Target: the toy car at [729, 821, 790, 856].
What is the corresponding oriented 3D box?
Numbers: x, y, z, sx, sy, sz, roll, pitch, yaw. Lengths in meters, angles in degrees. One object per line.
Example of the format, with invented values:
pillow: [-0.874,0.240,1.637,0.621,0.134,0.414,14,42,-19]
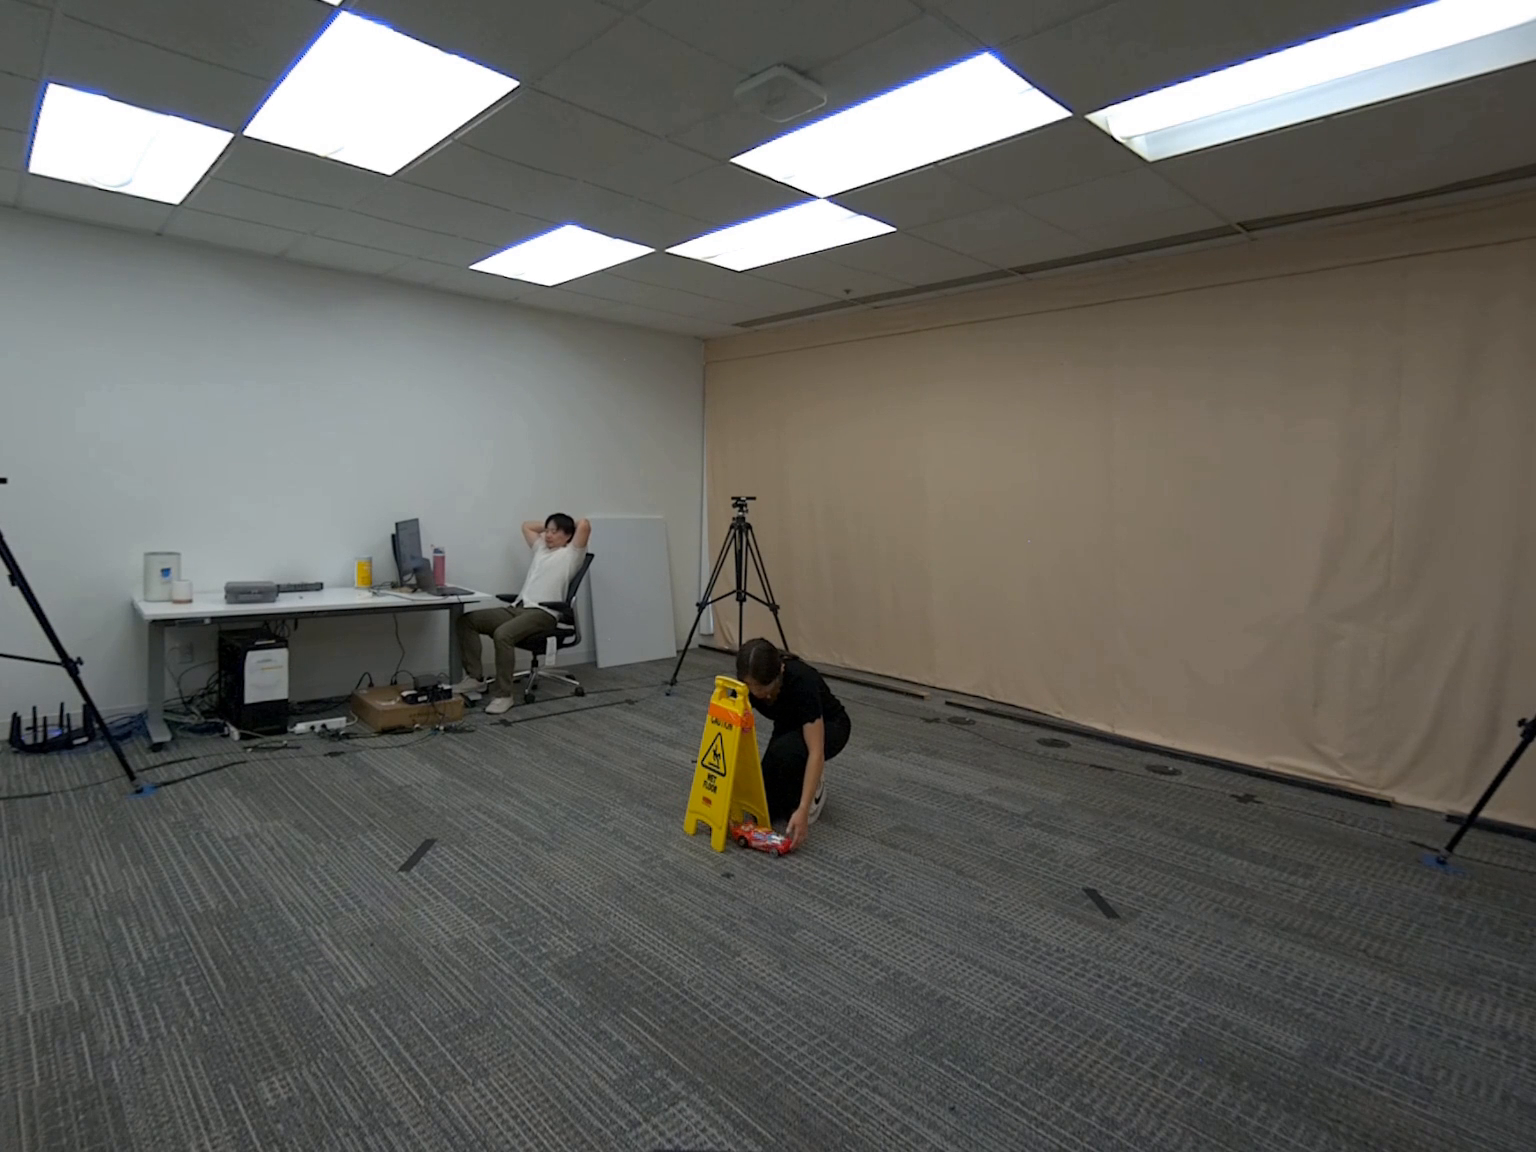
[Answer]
toy car: [-0.049,1.048,3.376,0.261,0.083,0.127,19,12,33]
